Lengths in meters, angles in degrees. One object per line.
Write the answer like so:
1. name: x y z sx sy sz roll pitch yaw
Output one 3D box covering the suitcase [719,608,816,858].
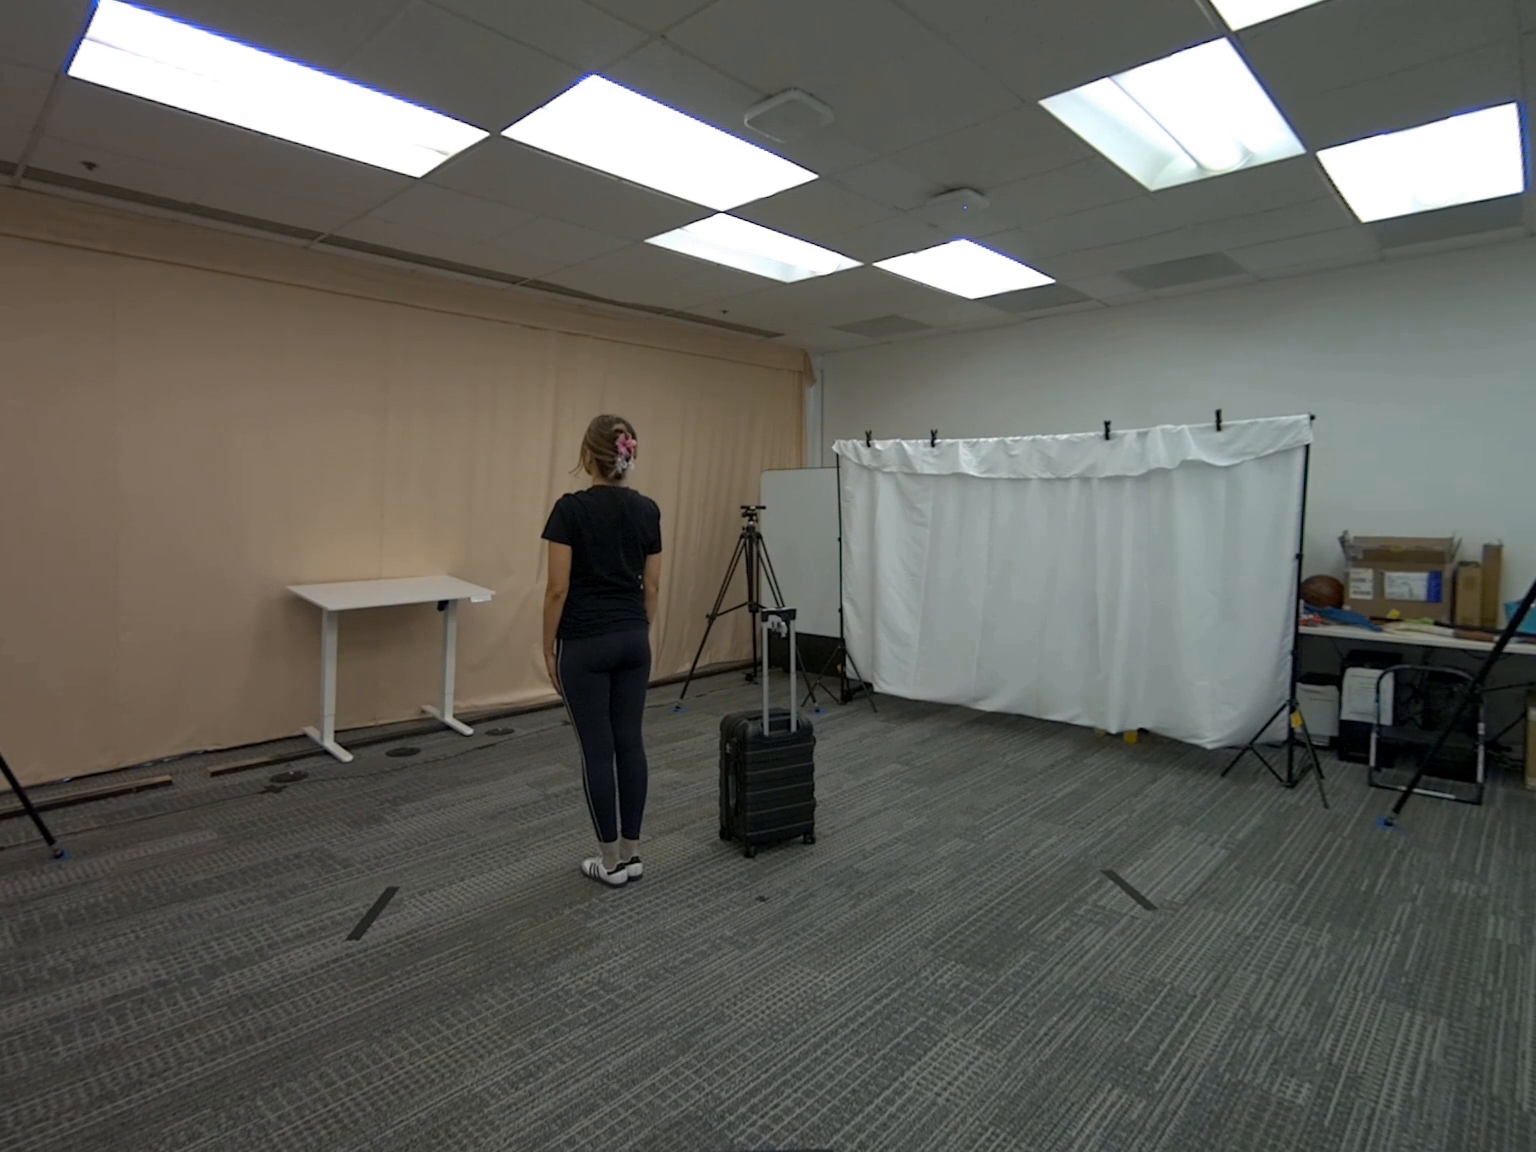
1. suitcase: -0.008 0.627 3.471 0.375 0.978 0.263 -1 1 -25
